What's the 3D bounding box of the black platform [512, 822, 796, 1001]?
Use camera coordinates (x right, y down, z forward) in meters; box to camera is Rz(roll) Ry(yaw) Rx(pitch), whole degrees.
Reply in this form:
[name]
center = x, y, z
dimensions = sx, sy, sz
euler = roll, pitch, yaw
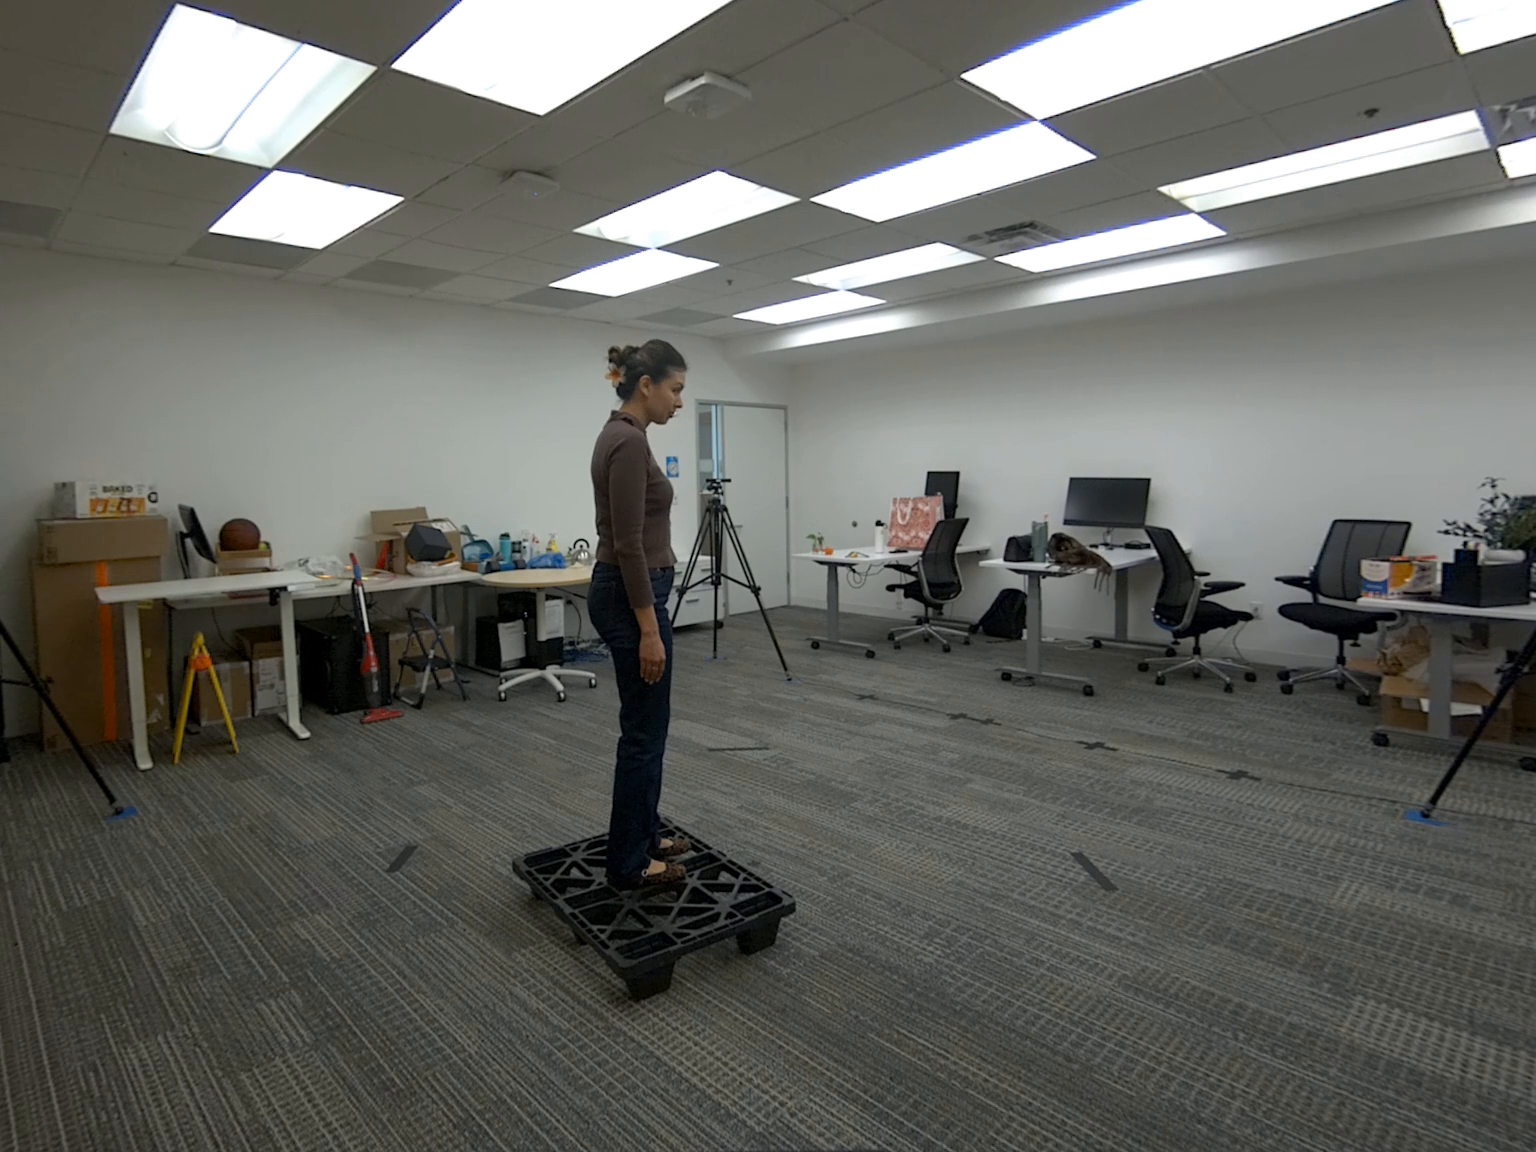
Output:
[black platform]
center = -0.387, 1.028, 2.732
dimensions = 0.590, 0.142, 0.830
euler = -5, 8, -36
